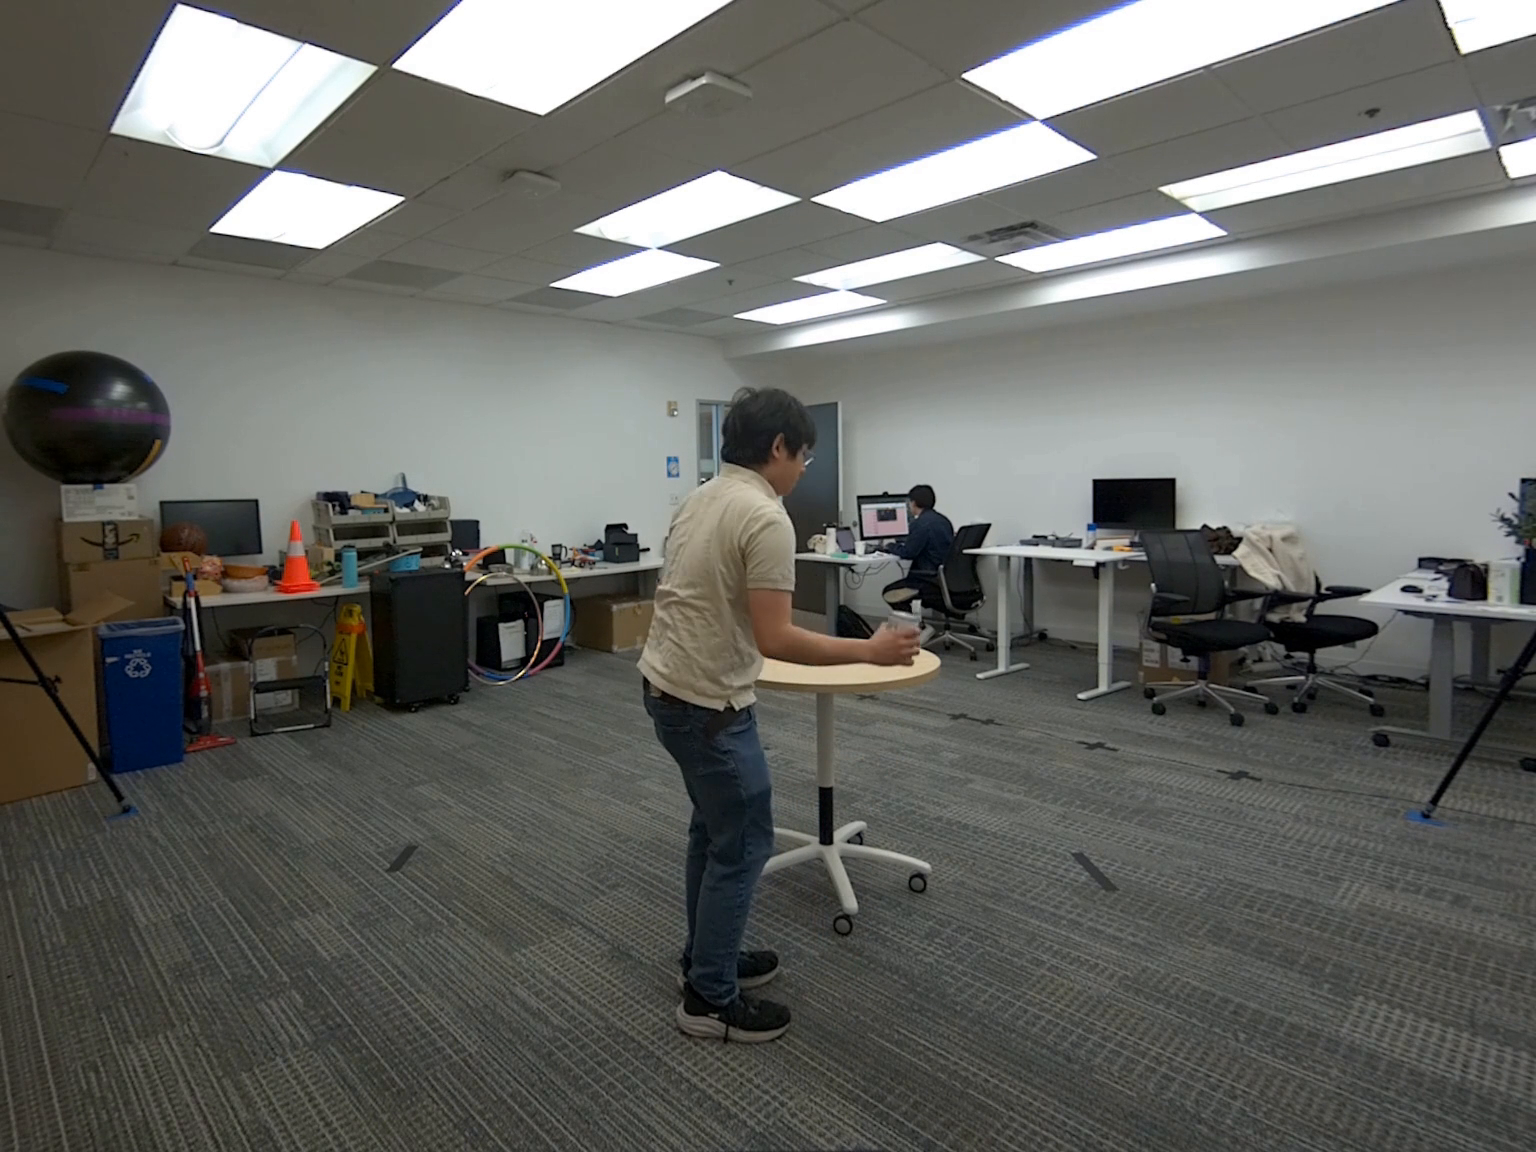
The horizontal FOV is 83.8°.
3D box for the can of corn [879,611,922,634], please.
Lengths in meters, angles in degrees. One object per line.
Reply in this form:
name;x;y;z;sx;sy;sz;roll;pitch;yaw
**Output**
can of corn;0.326;0.152;2.119;0.074;0.110;0.075;10;11;-4
